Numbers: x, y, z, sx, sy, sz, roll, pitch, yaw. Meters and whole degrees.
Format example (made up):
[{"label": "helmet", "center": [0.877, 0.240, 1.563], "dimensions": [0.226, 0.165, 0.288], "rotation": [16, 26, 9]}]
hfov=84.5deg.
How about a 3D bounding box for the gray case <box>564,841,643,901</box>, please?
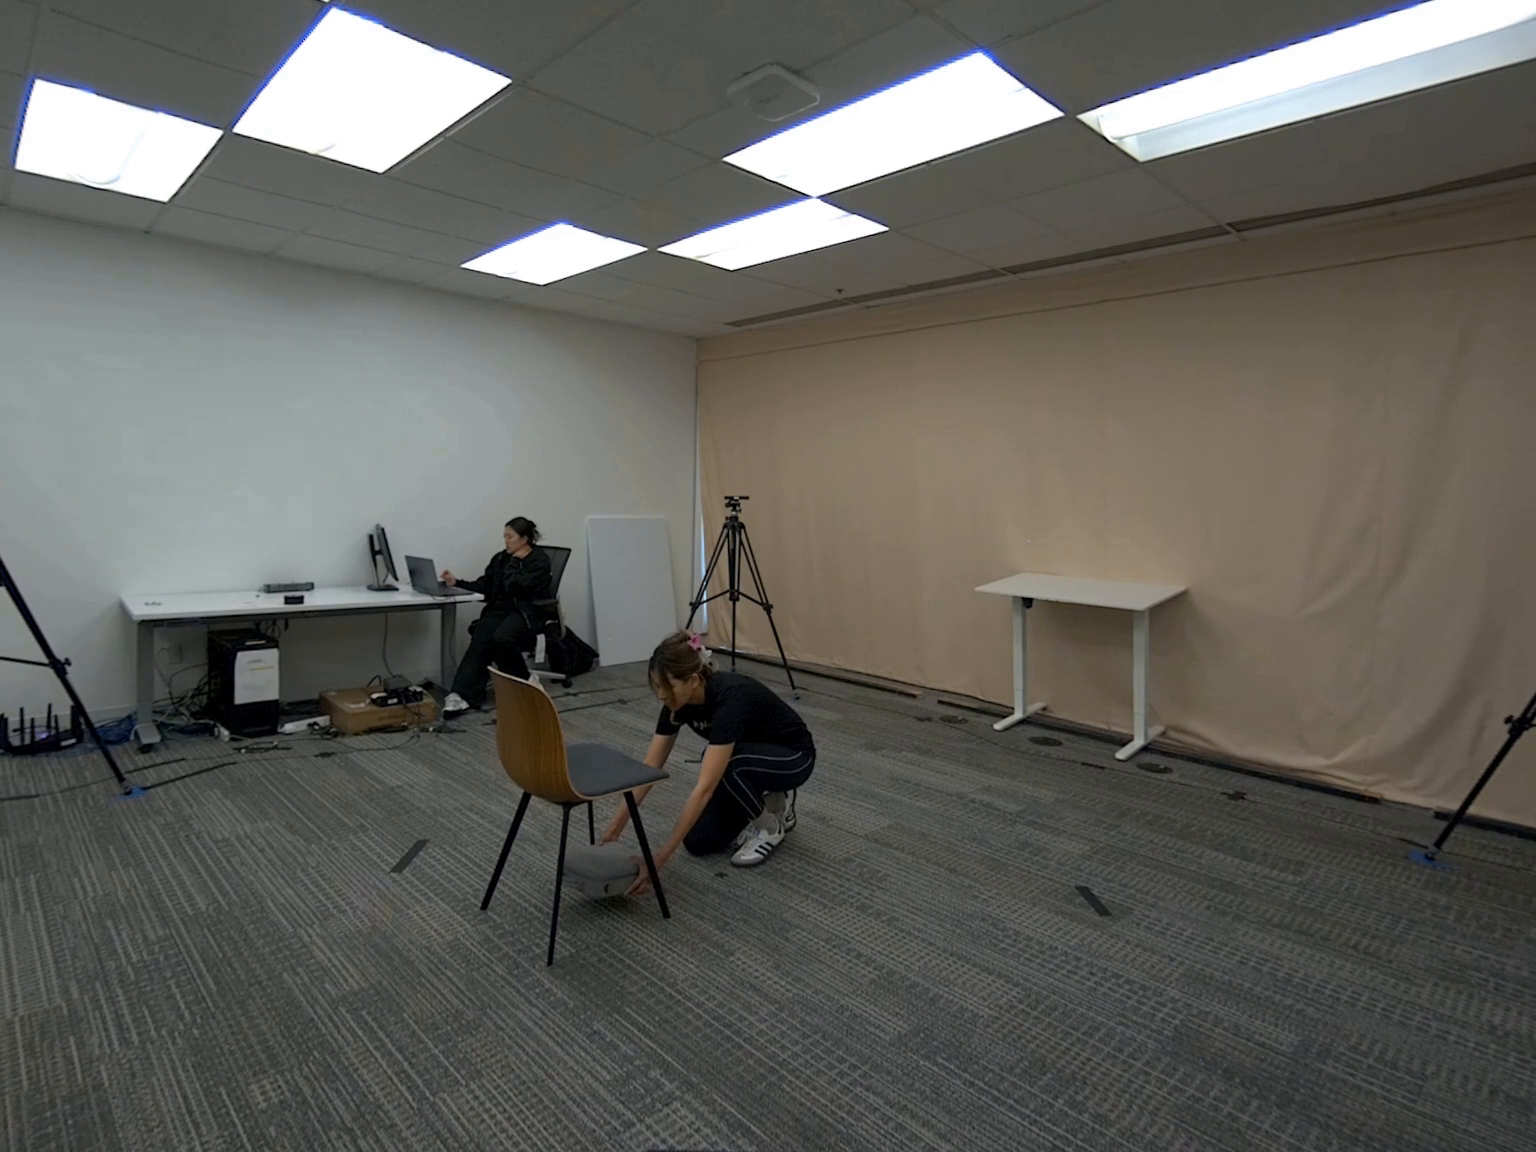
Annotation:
[{"label": "gray case", "center": [-0.561, 0.999, 2.847], "dimensions": [0.254, 0.104, 0.263], "rotation": [3, 0, -42]}]
